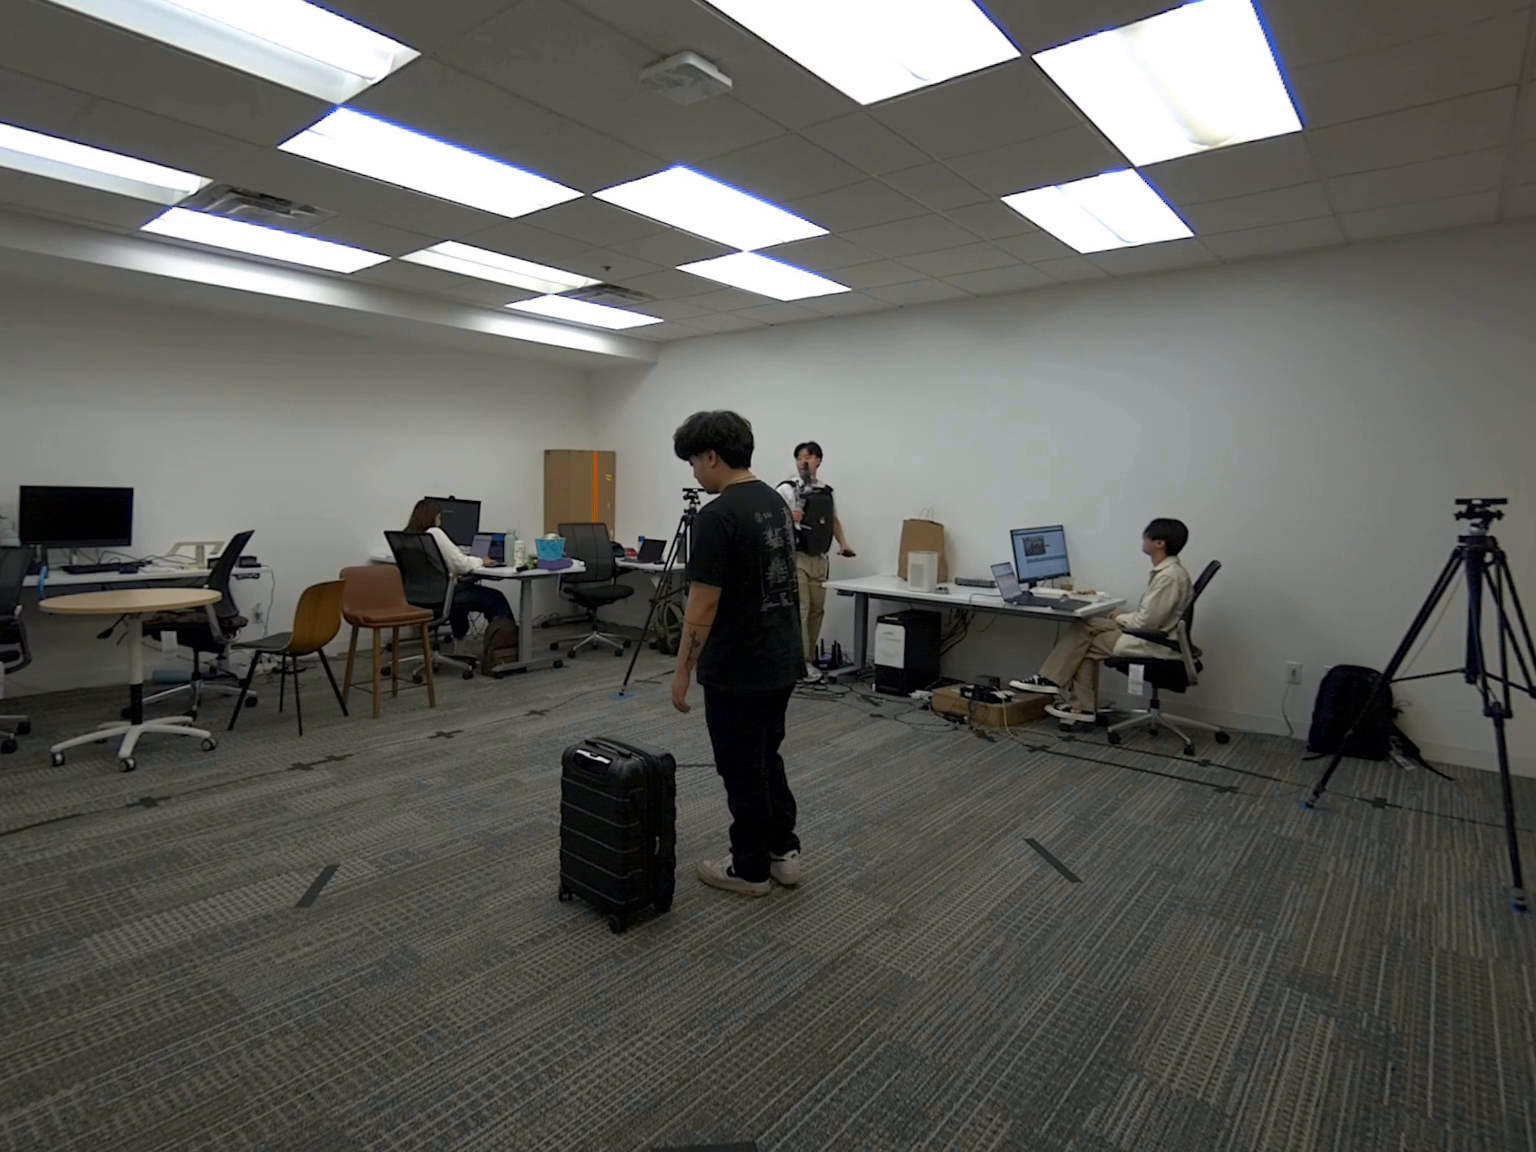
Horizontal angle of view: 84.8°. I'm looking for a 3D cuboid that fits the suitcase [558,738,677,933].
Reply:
[{"bbox_3d":[-0.509,0.814,2.808,0.388,0.548,0.241,4,4,41],"label":"suitcase"}]
